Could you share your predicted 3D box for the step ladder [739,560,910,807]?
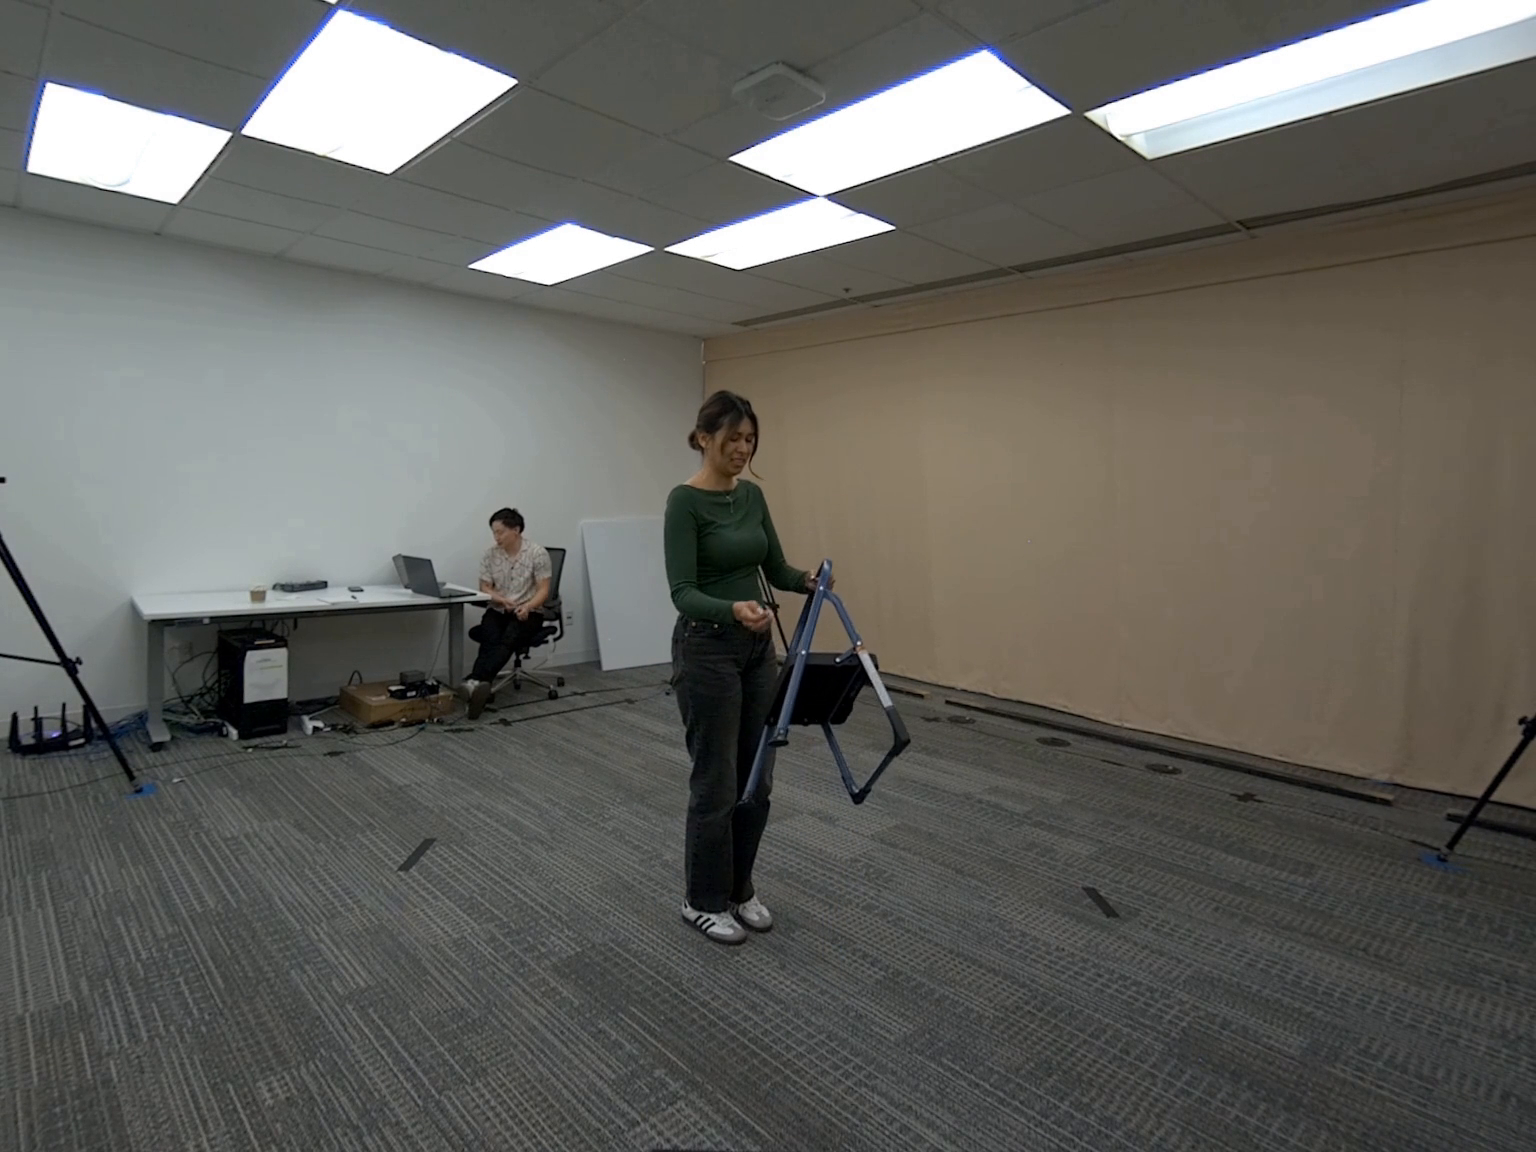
[{"bbox_3d":[0.099,0.265,2.307,0.346,0.621,0.424,1,-37,-13],"label":"step ladder"}]
